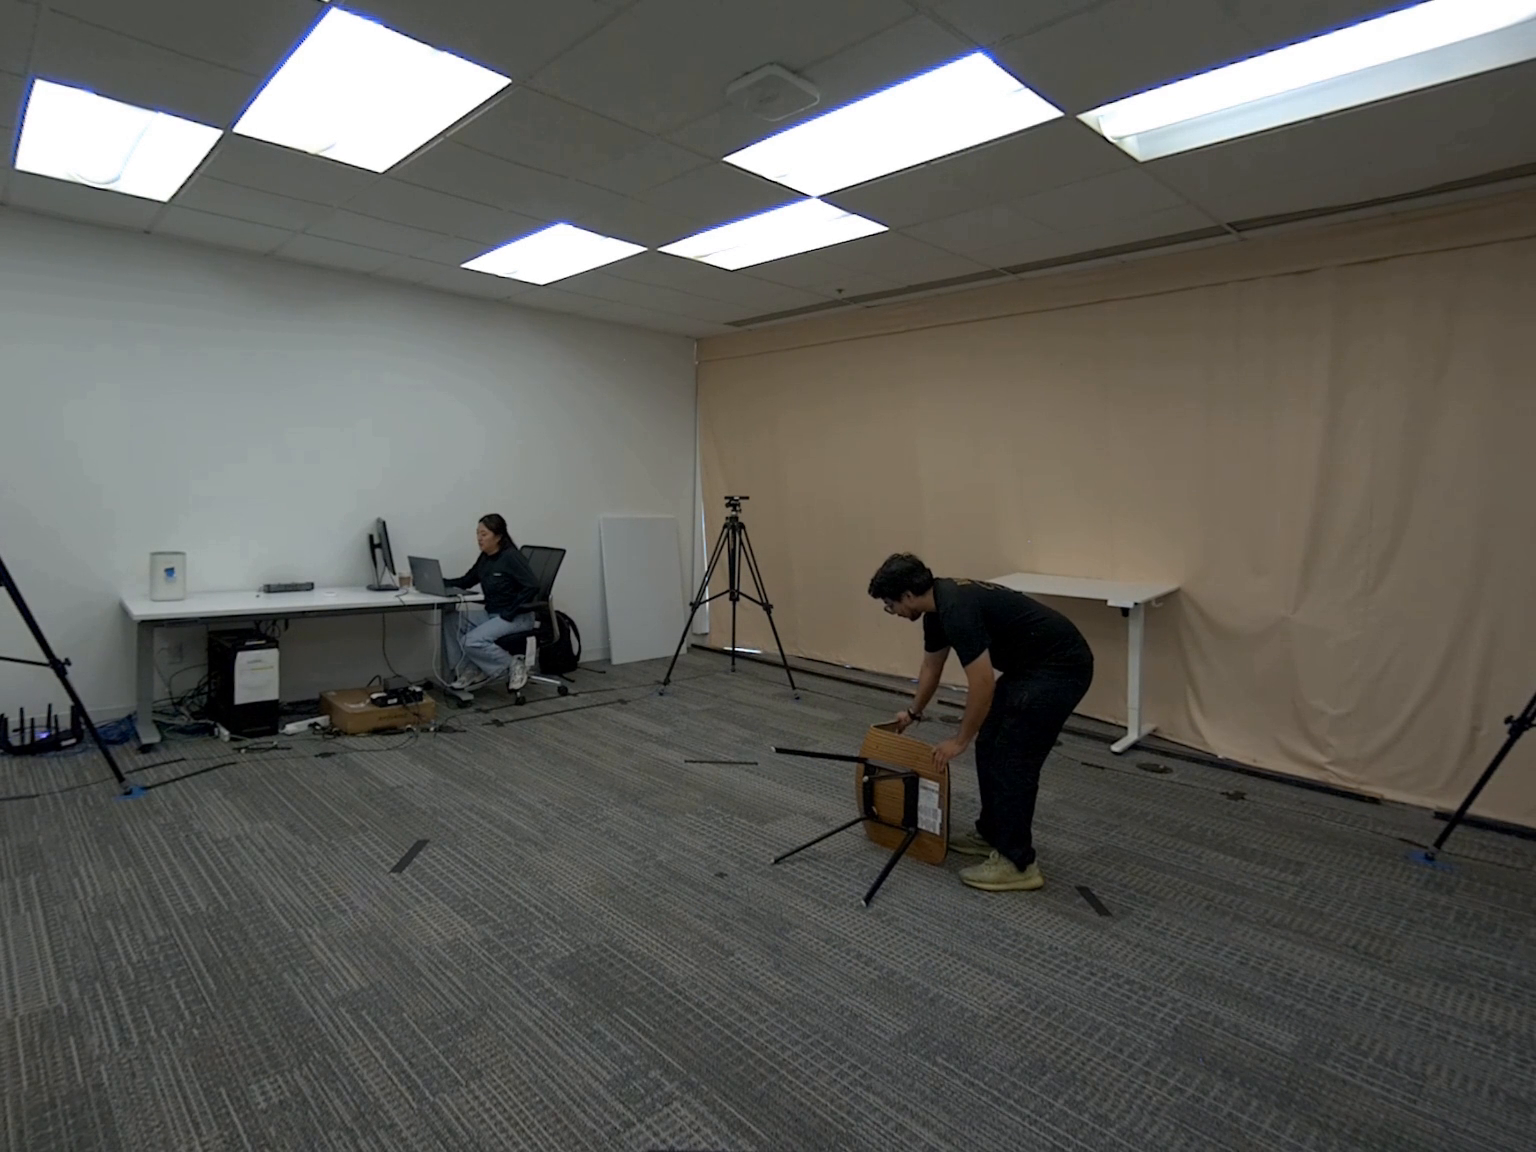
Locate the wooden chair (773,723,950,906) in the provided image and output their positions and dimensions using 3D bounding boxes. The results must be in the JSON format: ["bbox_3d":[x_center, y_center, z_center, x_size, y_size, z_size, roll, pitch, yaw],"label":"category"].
[{"bbox_3d":[0.476,0.869,3.317,0.536,0.477,0.857,4,5,40],"label":"wooden chair"}]
